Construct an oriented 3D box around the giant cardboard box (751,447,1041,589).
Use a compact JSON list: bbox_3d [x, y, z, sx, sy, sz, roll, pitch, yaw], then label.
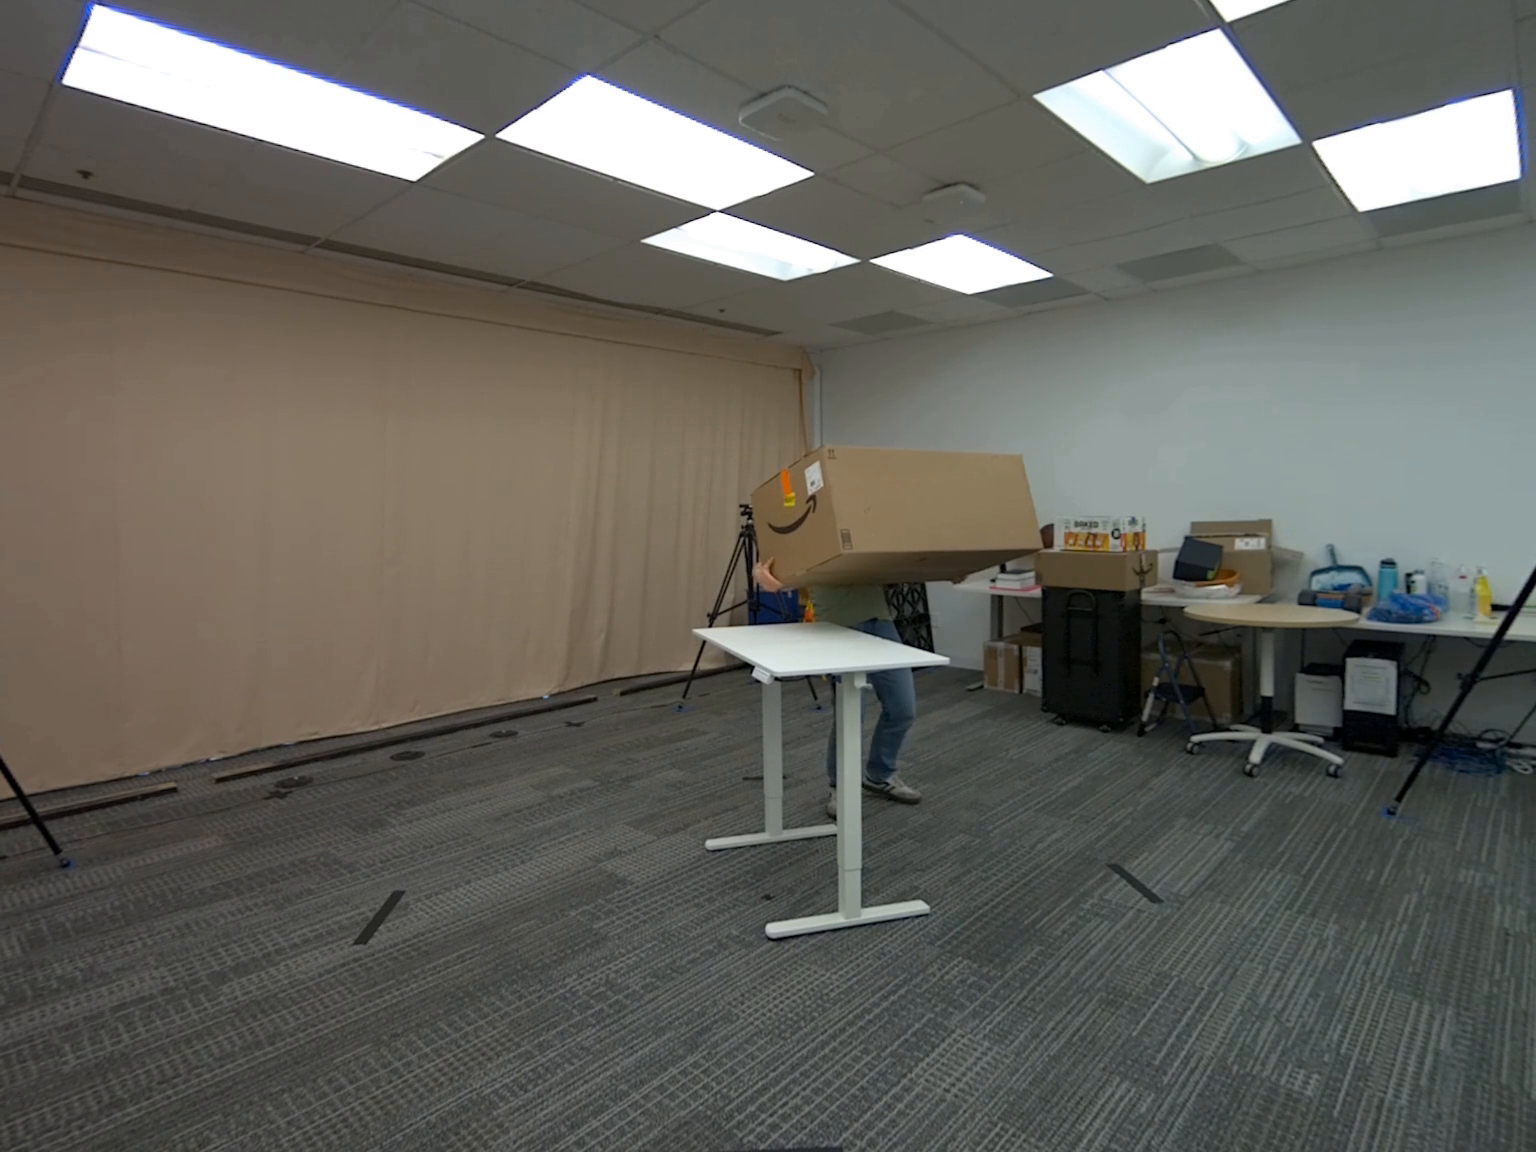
[{"bbox_3d":[0.535,-0.234,3.552,0.999,0.430,0.587,-2,-13,-28],"label":"giant cardboard box"}]
